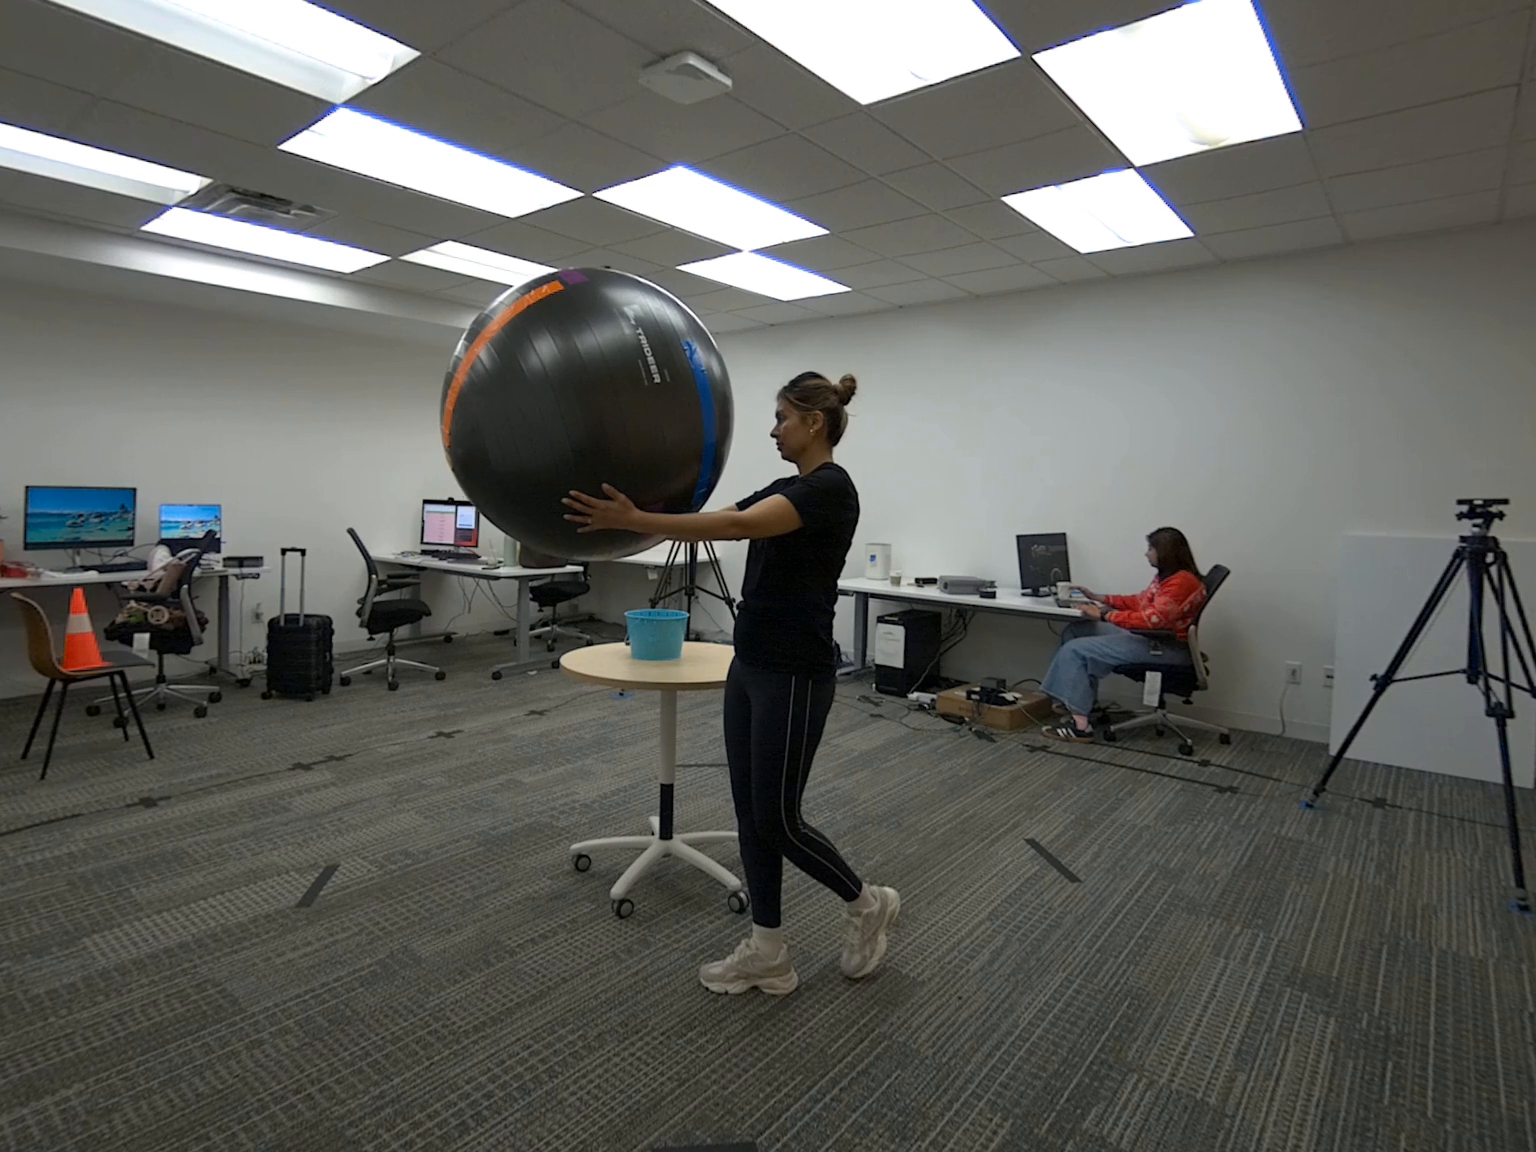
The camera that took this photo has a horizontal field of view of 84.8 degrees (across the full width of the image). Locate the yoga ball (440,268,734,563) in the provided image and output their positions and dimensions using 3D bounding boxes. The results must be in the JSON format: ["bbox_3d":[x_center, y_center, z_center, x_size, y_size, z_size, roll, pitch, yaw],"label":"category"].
[{"bbox_3d":[-0.477,-0.407,2.236,0.757,0.756,0.761,1,4,-2],"label":"yoga ball"}]
